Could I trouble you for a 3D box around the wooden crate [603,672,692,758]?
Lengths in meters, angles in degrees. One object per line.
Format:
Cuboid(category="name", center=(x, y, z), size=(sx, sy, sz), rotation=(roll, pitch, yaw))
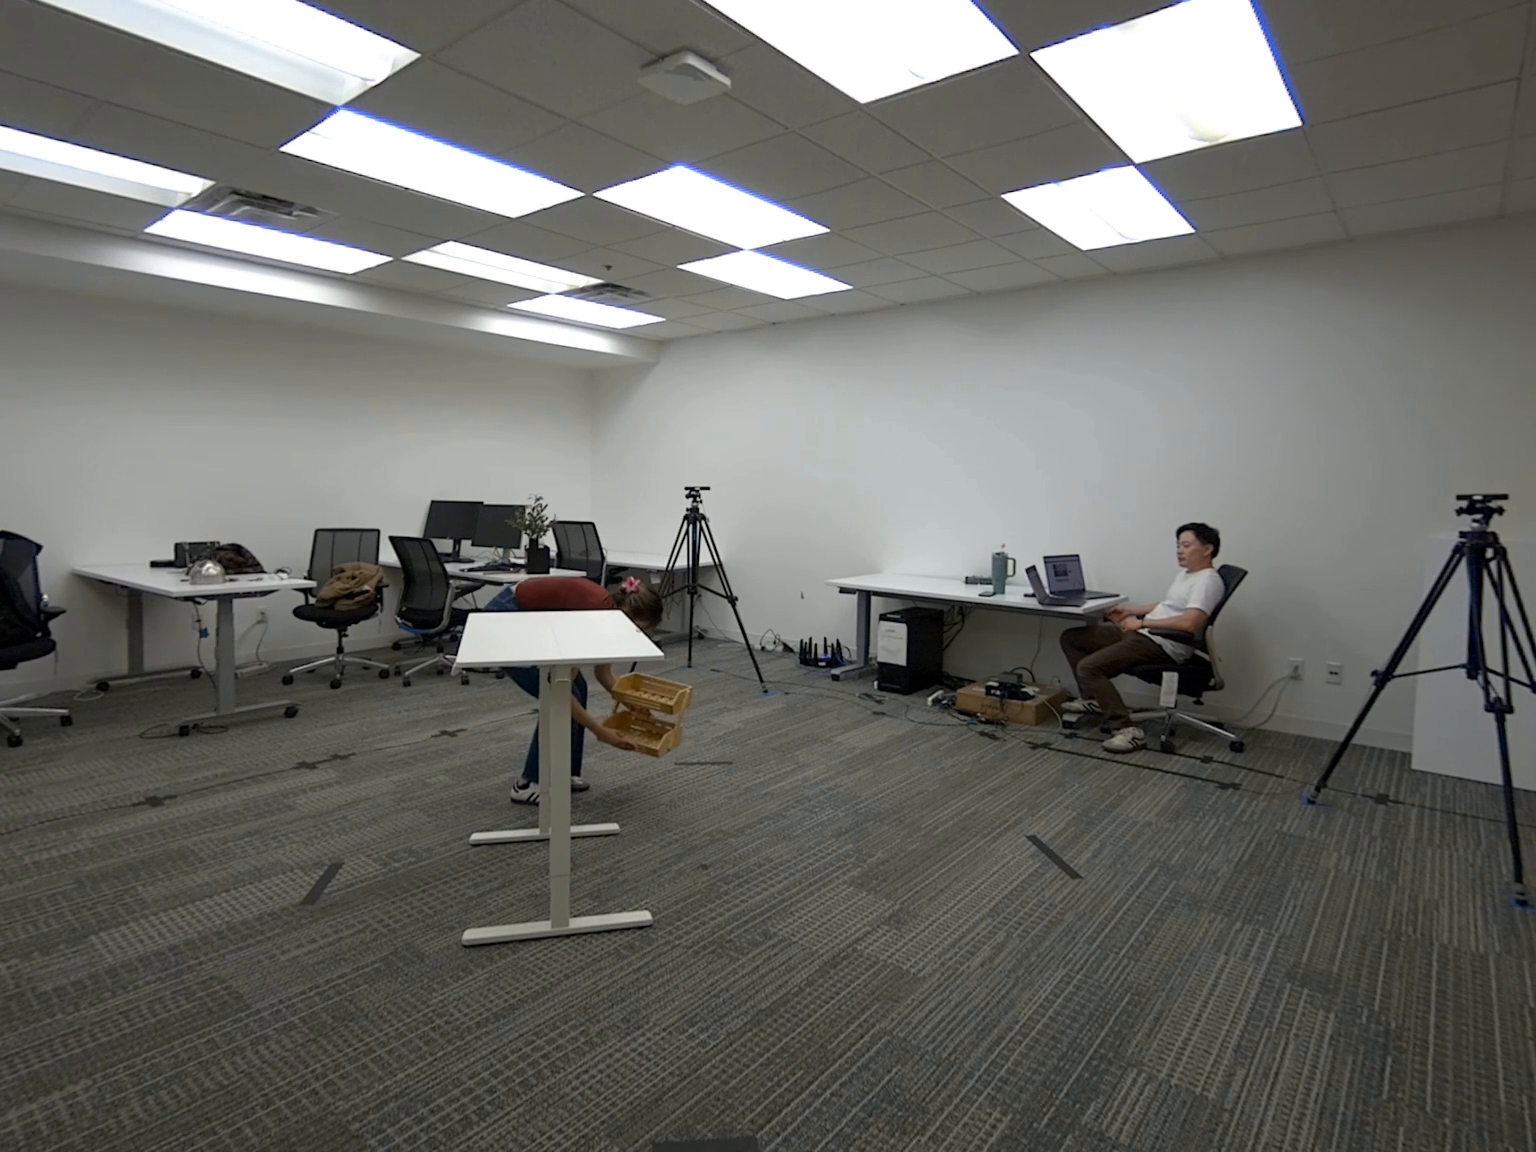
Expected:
Cuboid(category="wooden crate", center=(-0.558, 0.610, 3.767), size=(0.331, 0.272, 0.297), rotation=(10, 5, 17))
